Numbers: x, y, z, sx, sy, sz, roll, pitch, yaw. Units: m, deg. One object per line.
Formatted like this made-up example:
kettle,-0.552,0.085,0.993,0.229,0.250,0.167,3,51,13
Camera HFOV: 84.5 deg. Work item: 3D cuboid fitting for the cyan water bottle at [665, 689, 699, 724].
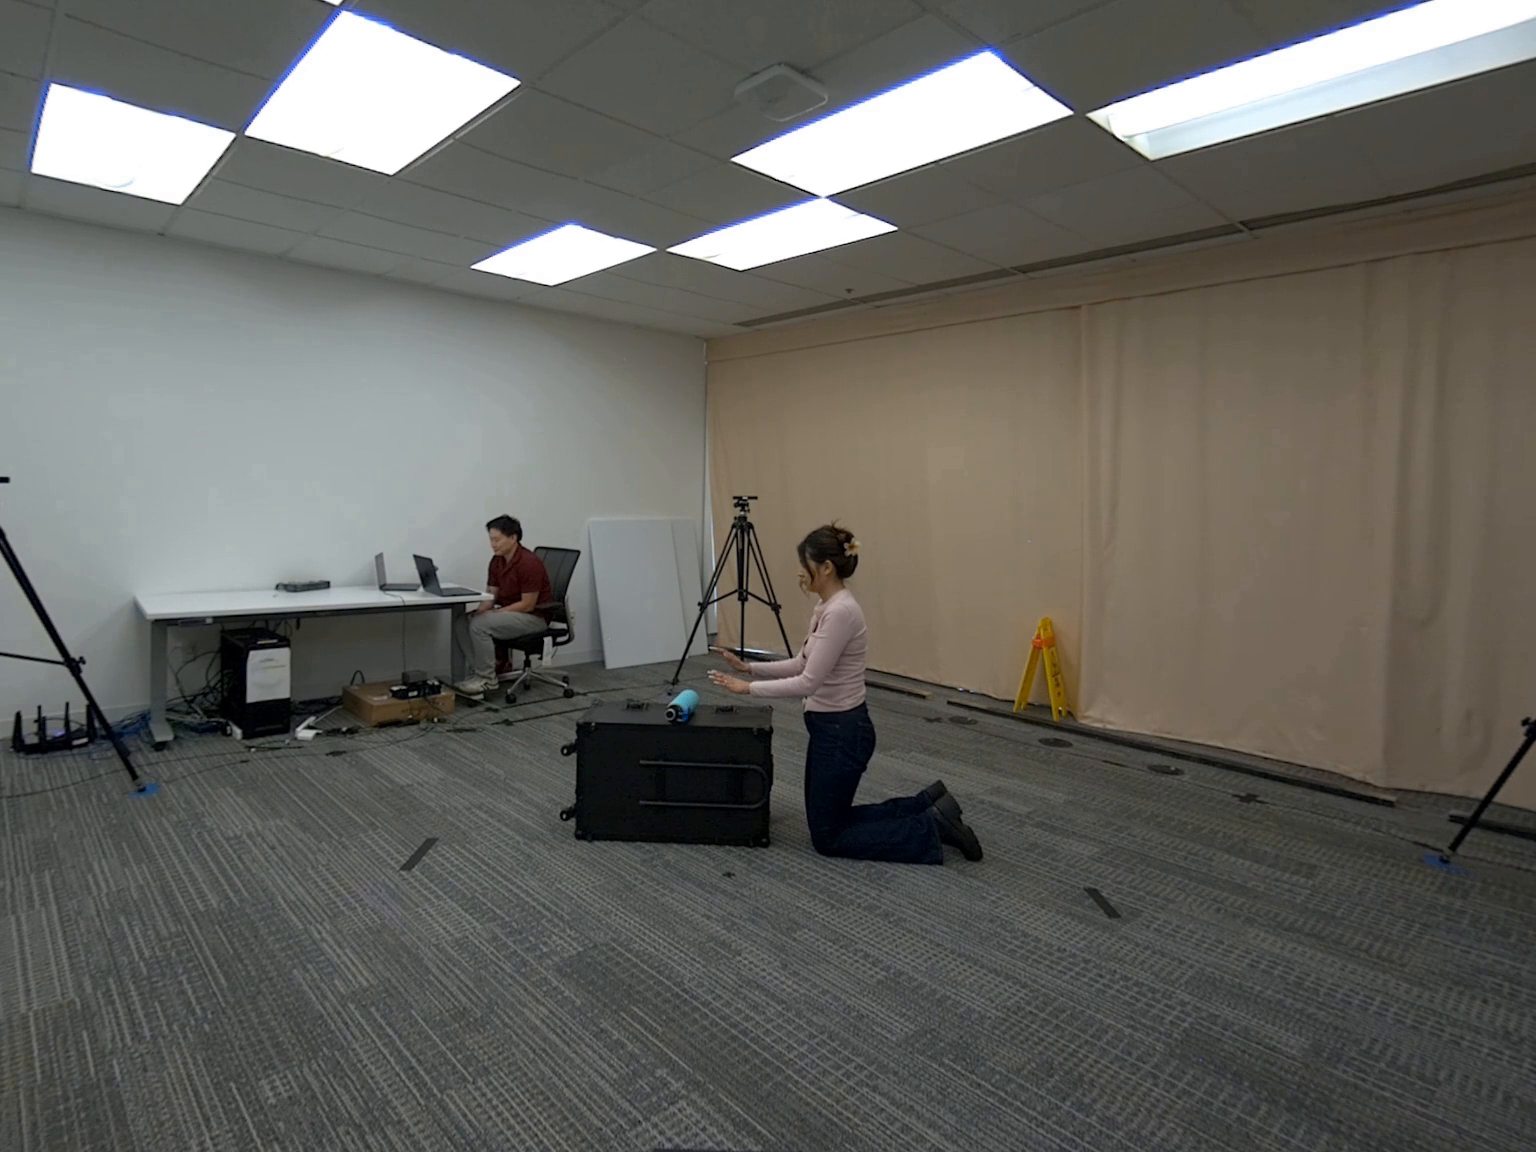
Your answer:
cyan water bottle,-0.359,0.532,3.455,0.093,0.092,0.282,2,4,6
